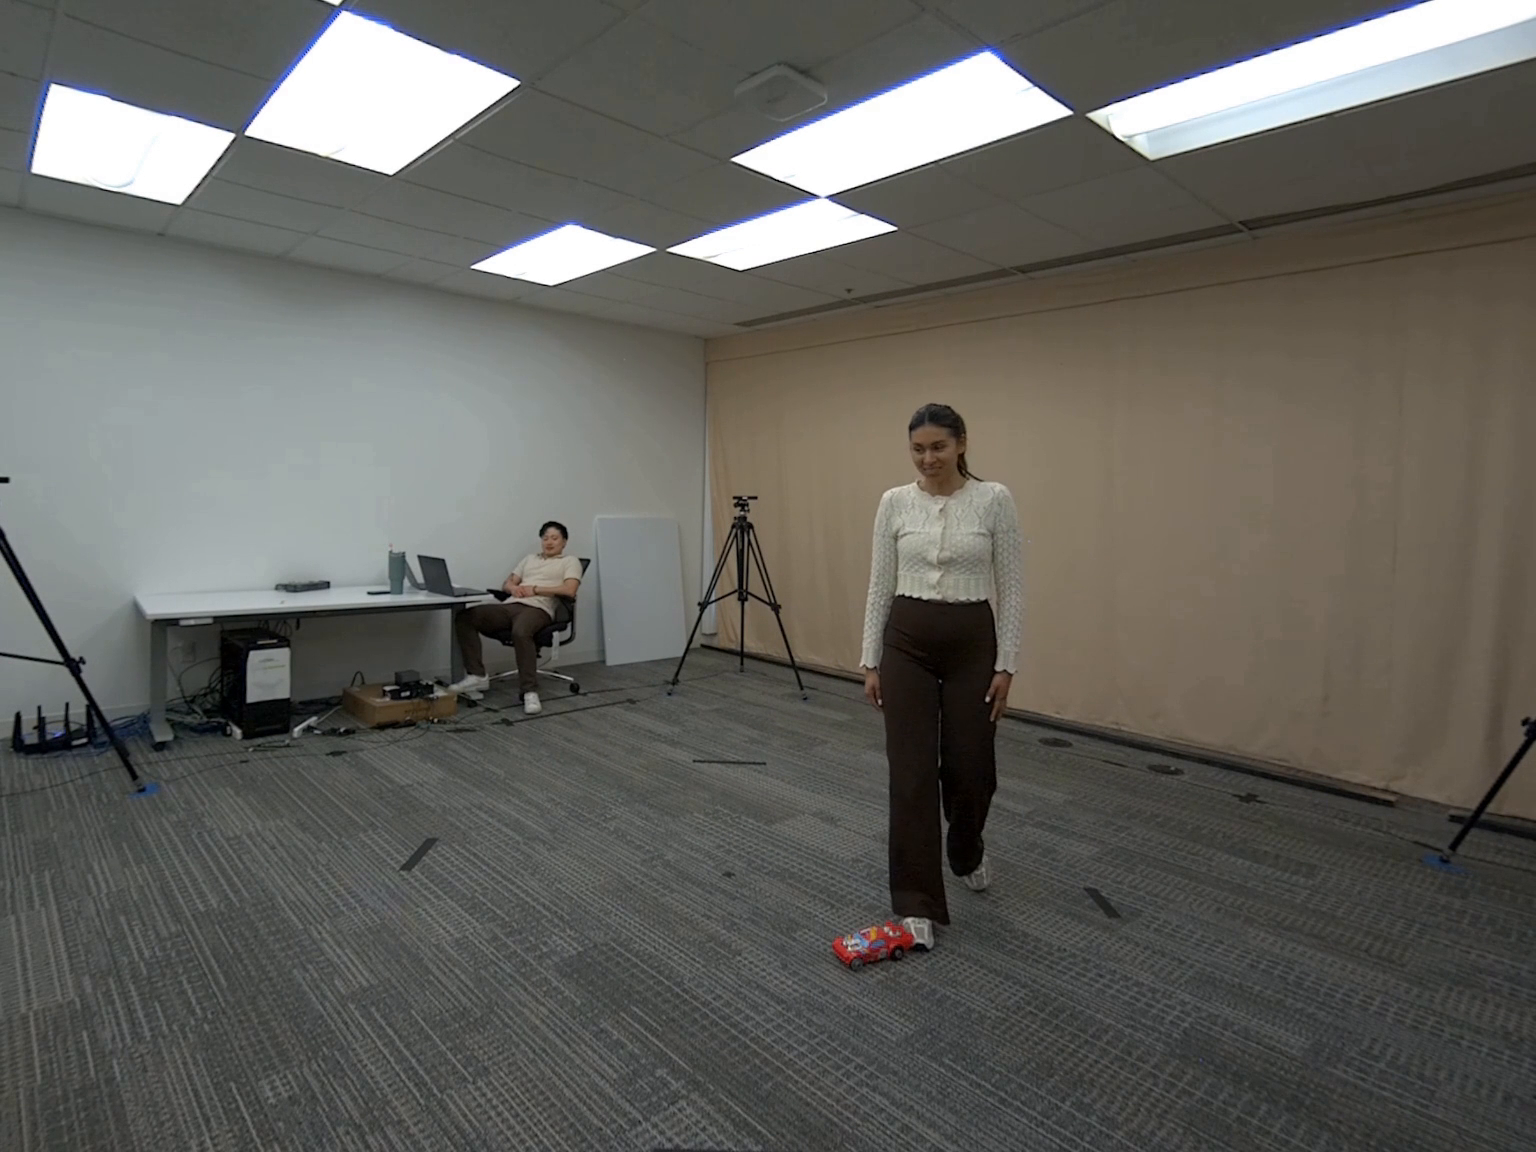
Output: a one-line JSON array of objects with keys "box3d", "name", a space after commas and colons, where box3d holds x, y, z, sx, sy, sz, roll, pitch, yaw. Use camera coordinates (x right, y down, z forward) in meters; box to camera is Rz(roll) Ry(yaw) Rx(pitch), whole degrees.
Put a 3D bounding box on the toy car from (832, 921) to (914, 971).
[{"box3d": [0.323, 1.132, 2.573, 0.251, 0.082, 0.133, -13, 11, -22], "name": "toy car"}]
